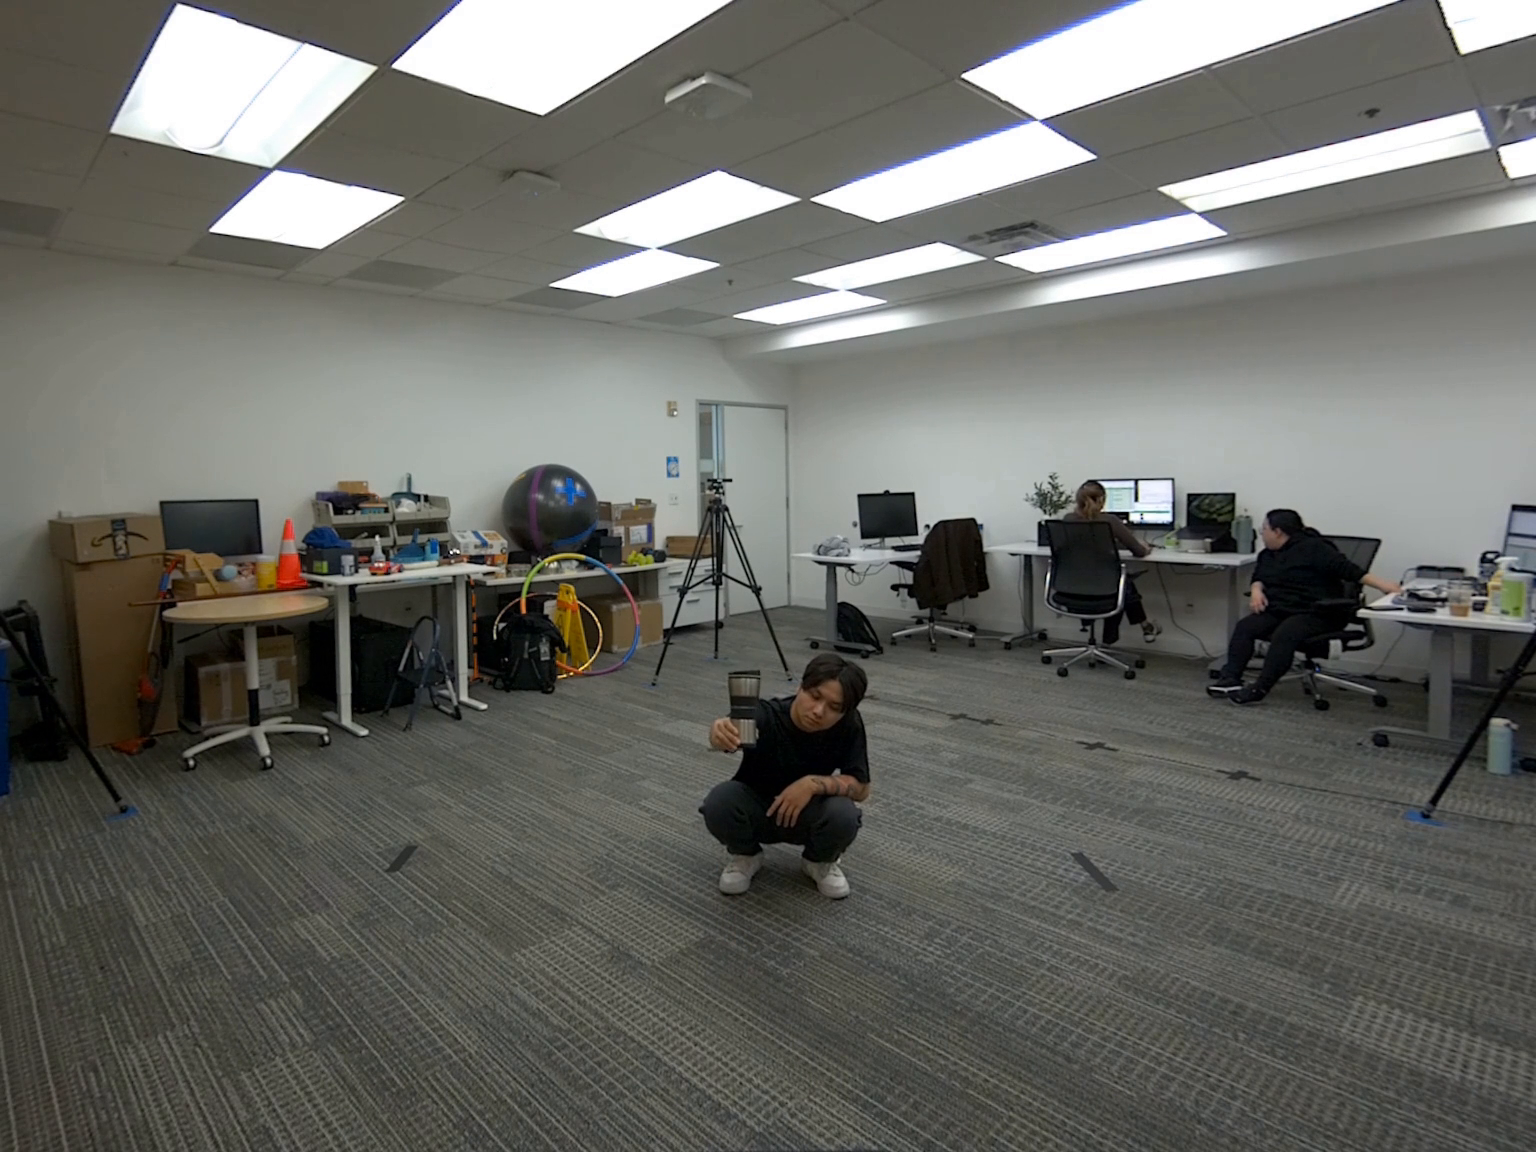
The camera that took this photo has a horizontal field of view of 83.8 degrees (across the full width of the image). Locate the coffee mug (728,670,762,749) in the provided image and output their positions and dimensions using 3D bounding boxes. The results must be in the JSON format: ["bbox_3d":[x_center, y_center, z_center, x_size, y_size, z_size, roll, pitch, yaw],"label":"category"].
[{"bbox_3d":[-0.040,0.372,2.282,0.118,0.205,0.090,10,-18,-44],"label":"coffee mug"}]
